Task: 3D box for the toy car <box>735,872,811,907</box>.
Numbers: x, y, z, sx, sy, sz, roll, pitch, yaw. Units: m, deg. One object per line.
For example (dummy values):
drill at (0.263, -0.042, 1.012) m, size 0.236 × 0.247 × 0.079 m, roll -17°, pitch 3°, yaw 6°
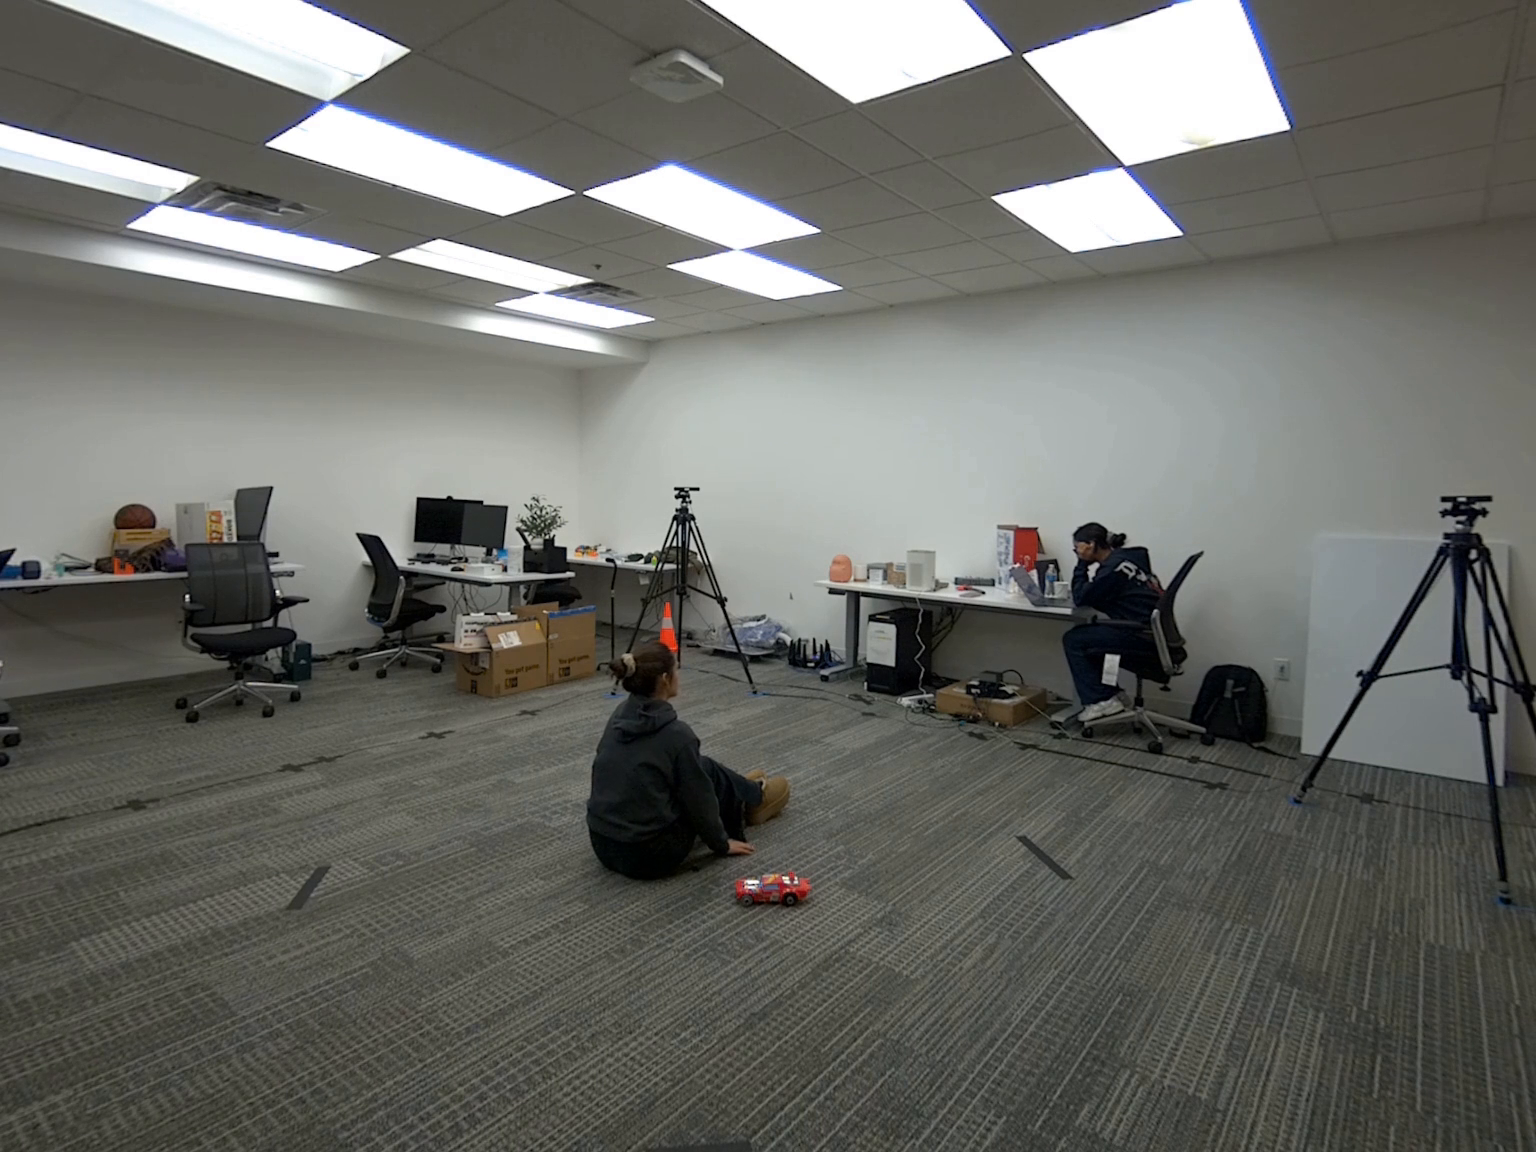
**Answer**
toy car at (0.022, 1.061, 2.882) m, size 0.254 × 0.083 × 0.131 m, roll -11°, pitch 5°, yaw -3°
